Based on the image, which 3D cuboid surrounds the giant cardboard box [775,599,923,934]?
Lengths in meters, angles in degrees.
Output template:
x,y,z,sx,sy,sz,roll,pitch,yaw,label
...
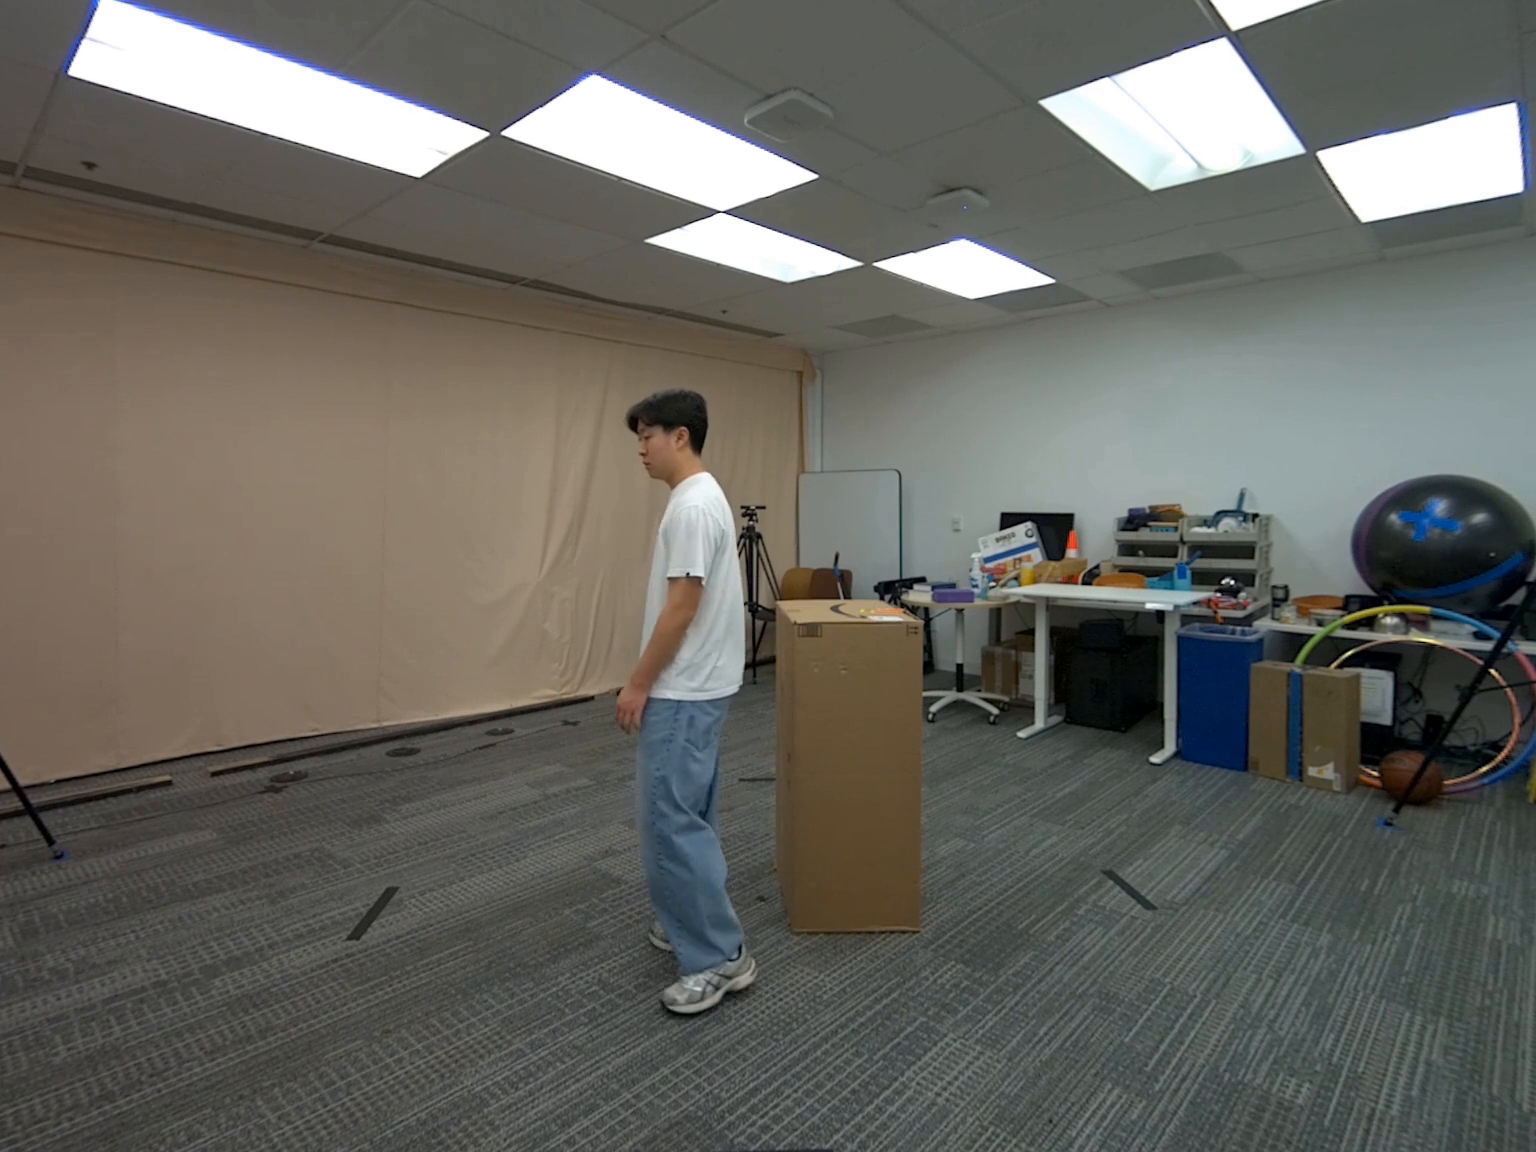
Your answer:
x,y,z,sx,sy,sz,roll,pitch,yaw,label
0.272,0.632,2.999,0.424,1.024,0.581,0,3,-5,giant cardboard box
